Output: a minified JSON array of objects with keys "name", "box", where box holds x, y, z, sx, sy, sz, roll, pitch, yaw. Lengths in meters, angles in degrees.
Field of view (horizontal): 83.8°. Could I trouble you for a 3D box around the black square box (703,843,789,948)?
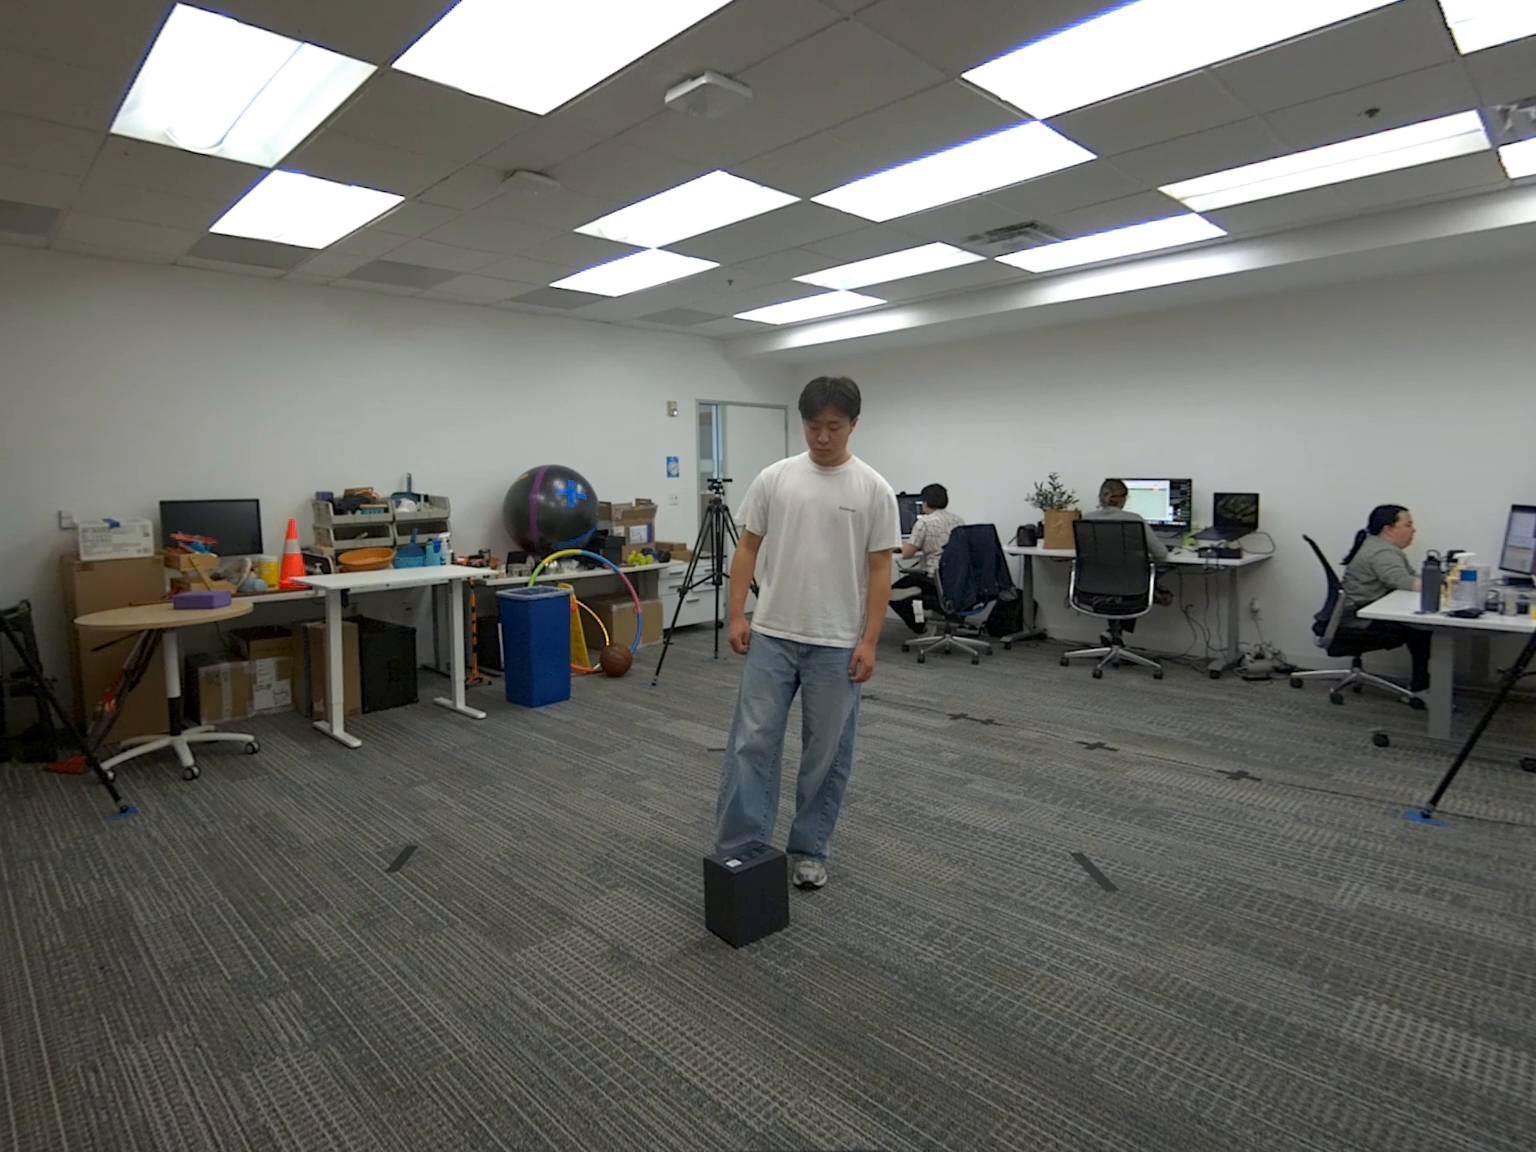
[{"name":"black square box","box":[-0.068,0.981,2.654,0.211,0.227,0.160,-6,6,-40]}]
